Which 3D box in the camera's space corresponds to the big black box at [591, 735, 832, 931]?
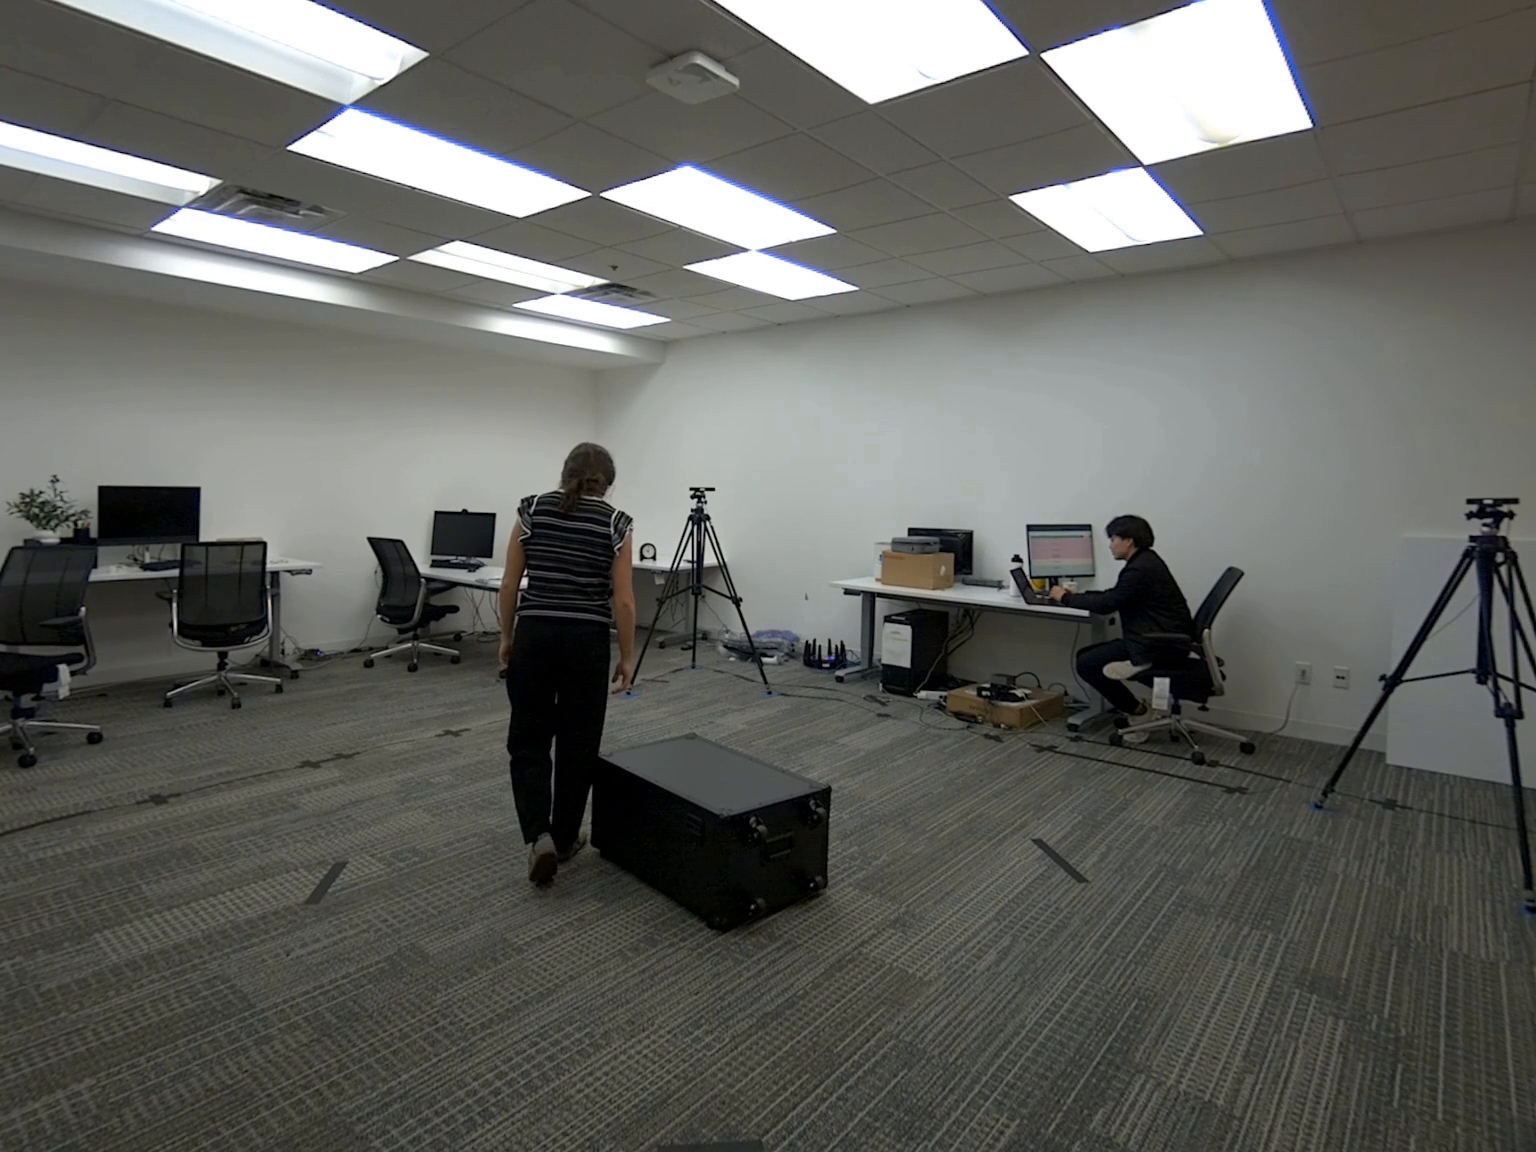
[{"bbox_3d":[-0.217,0.883,3.043,0.505,0.395,0.891,-3,6,-42],"label":"big black box"}]
